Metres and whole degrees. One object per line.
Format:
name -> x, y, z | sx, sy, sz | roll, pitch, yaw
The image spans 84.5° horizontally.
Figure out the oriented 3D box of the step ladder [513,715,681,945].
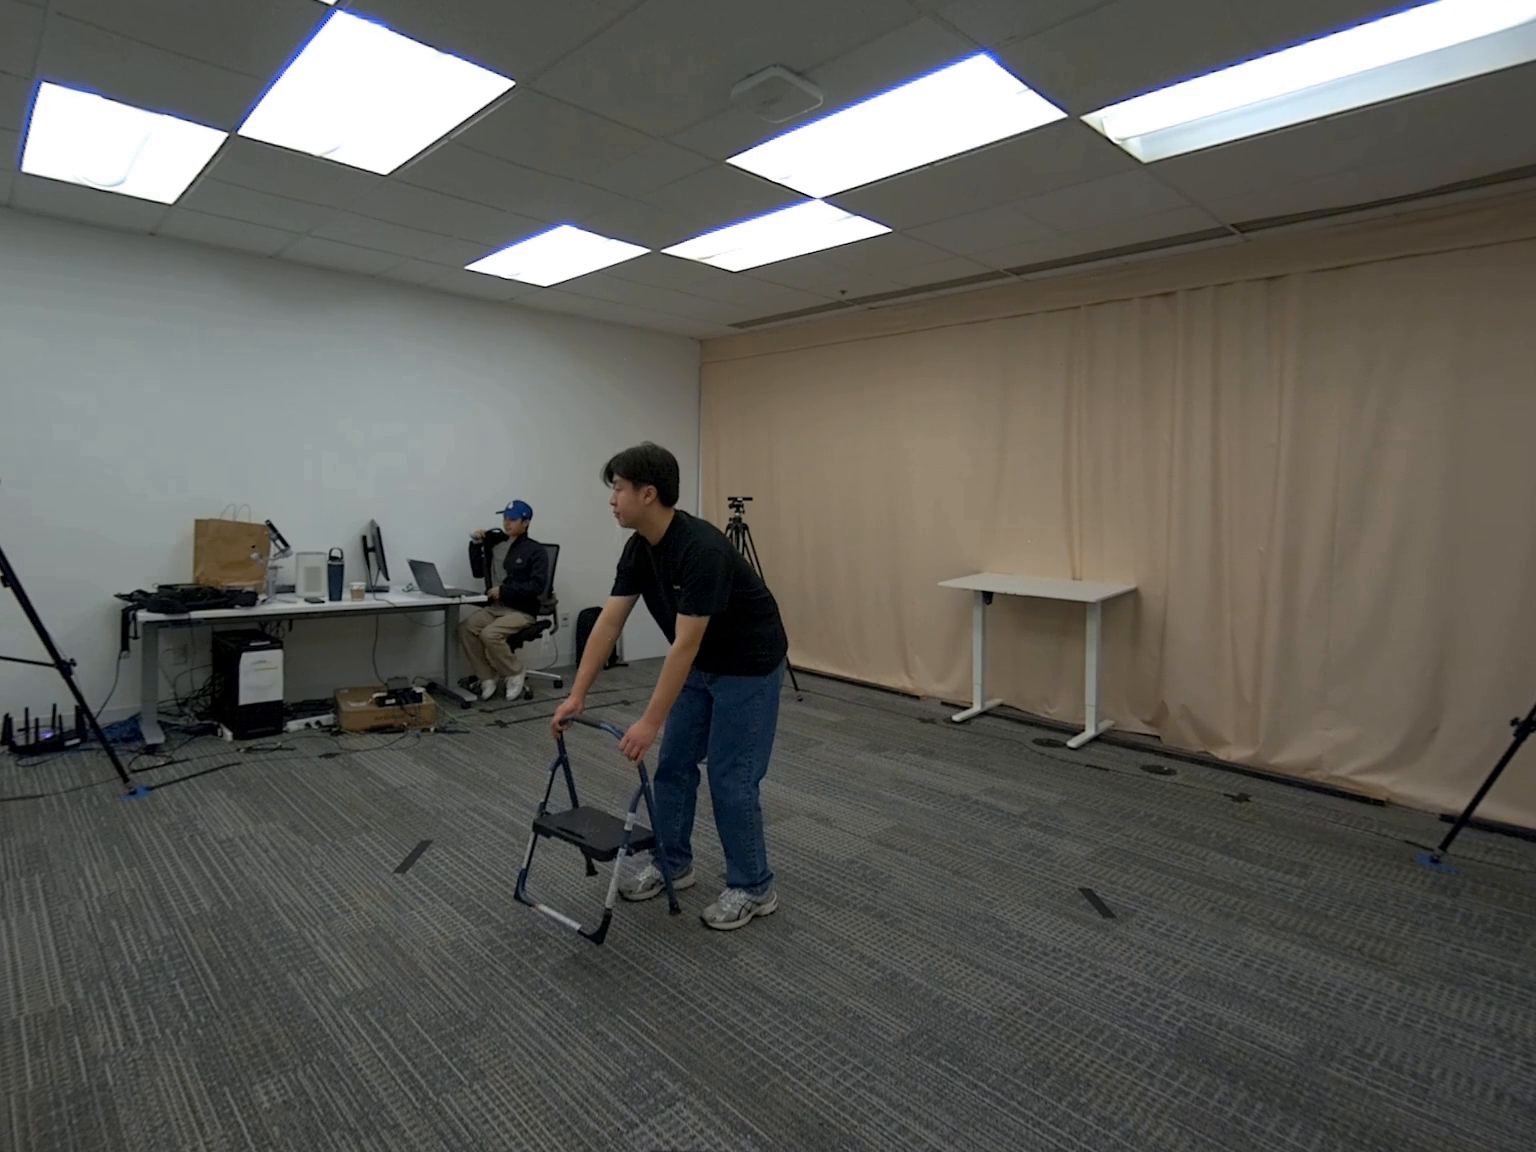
step ladder -> -0.536, 0.748, 2.669 | 0.441, 0.606, 0.341 | 4, 0, 37
